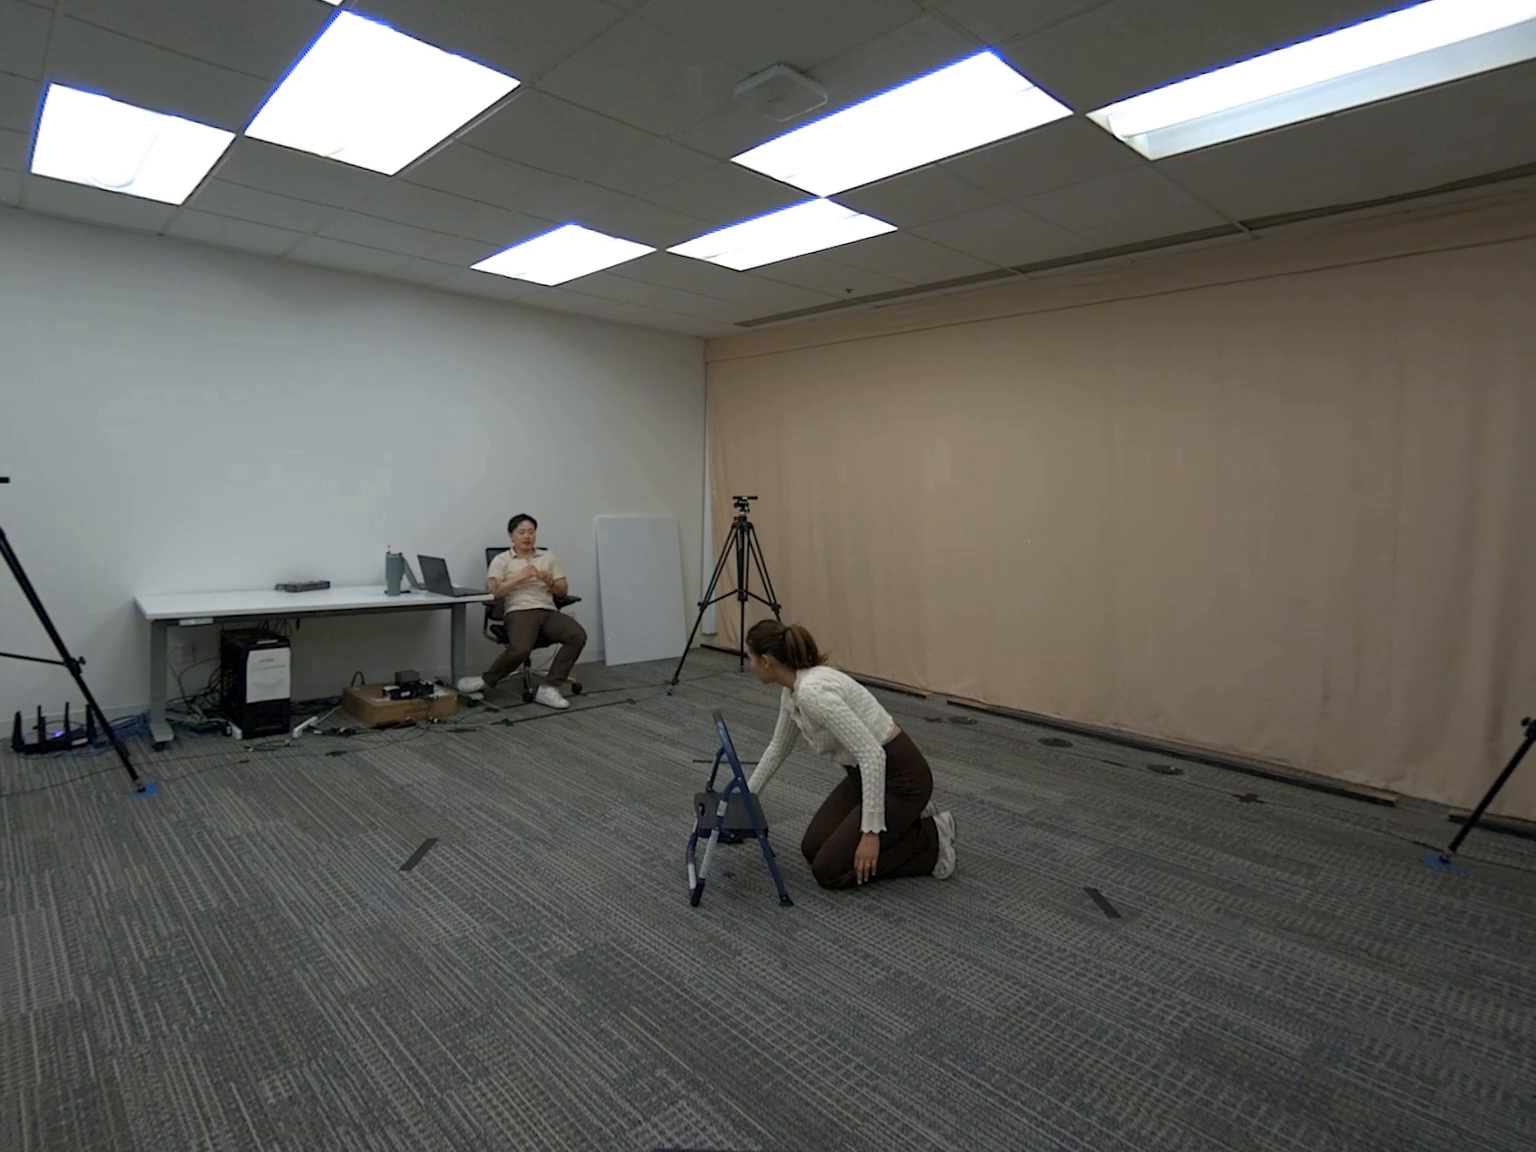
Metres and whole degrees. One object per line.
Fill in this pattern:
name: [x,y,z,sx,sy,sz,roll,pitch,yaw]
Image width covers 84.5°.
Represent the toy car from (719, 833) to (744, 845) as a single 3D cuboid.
toy car: [-0.167,1.041,3.493,0.130,0.082,0.257,1,14,-3]
